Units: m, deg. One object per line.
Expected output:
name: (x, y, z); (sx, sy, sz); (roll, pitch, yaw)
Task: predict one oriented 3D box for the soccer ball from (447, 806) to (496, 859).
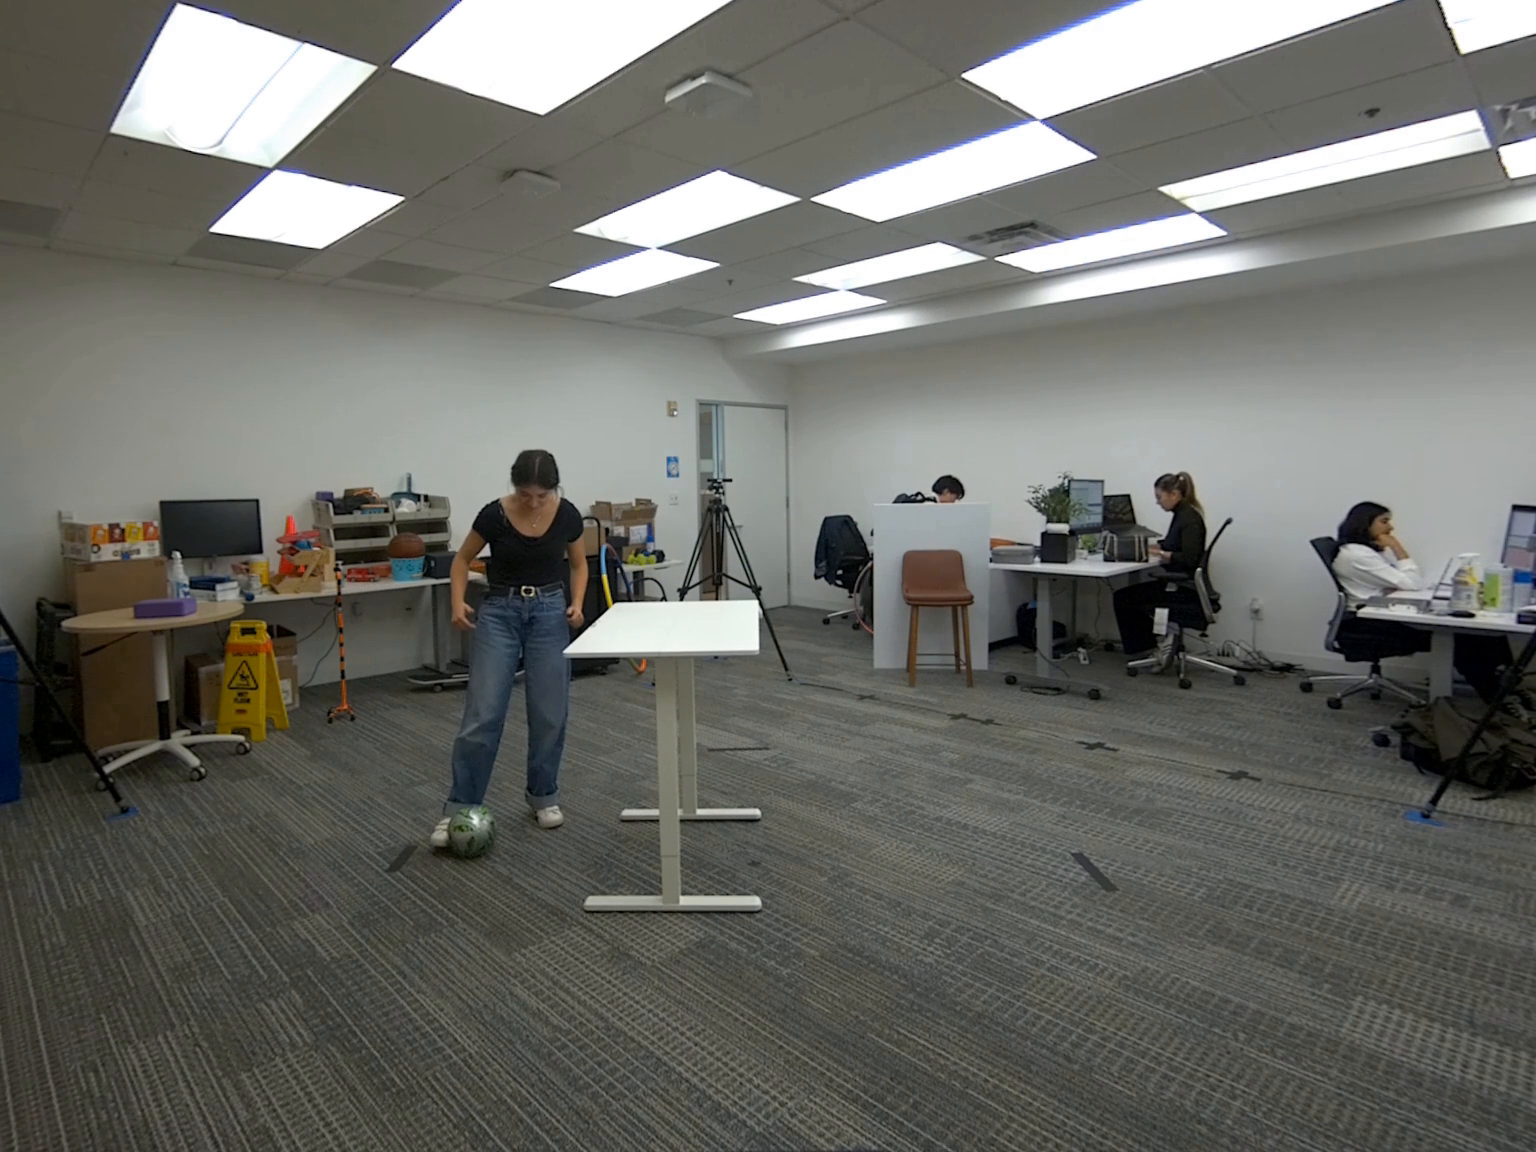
soccer ball: (-1.118, 0.967, 3.232); (0.187, 0.187, 0.188); (-1, 5, -2)
